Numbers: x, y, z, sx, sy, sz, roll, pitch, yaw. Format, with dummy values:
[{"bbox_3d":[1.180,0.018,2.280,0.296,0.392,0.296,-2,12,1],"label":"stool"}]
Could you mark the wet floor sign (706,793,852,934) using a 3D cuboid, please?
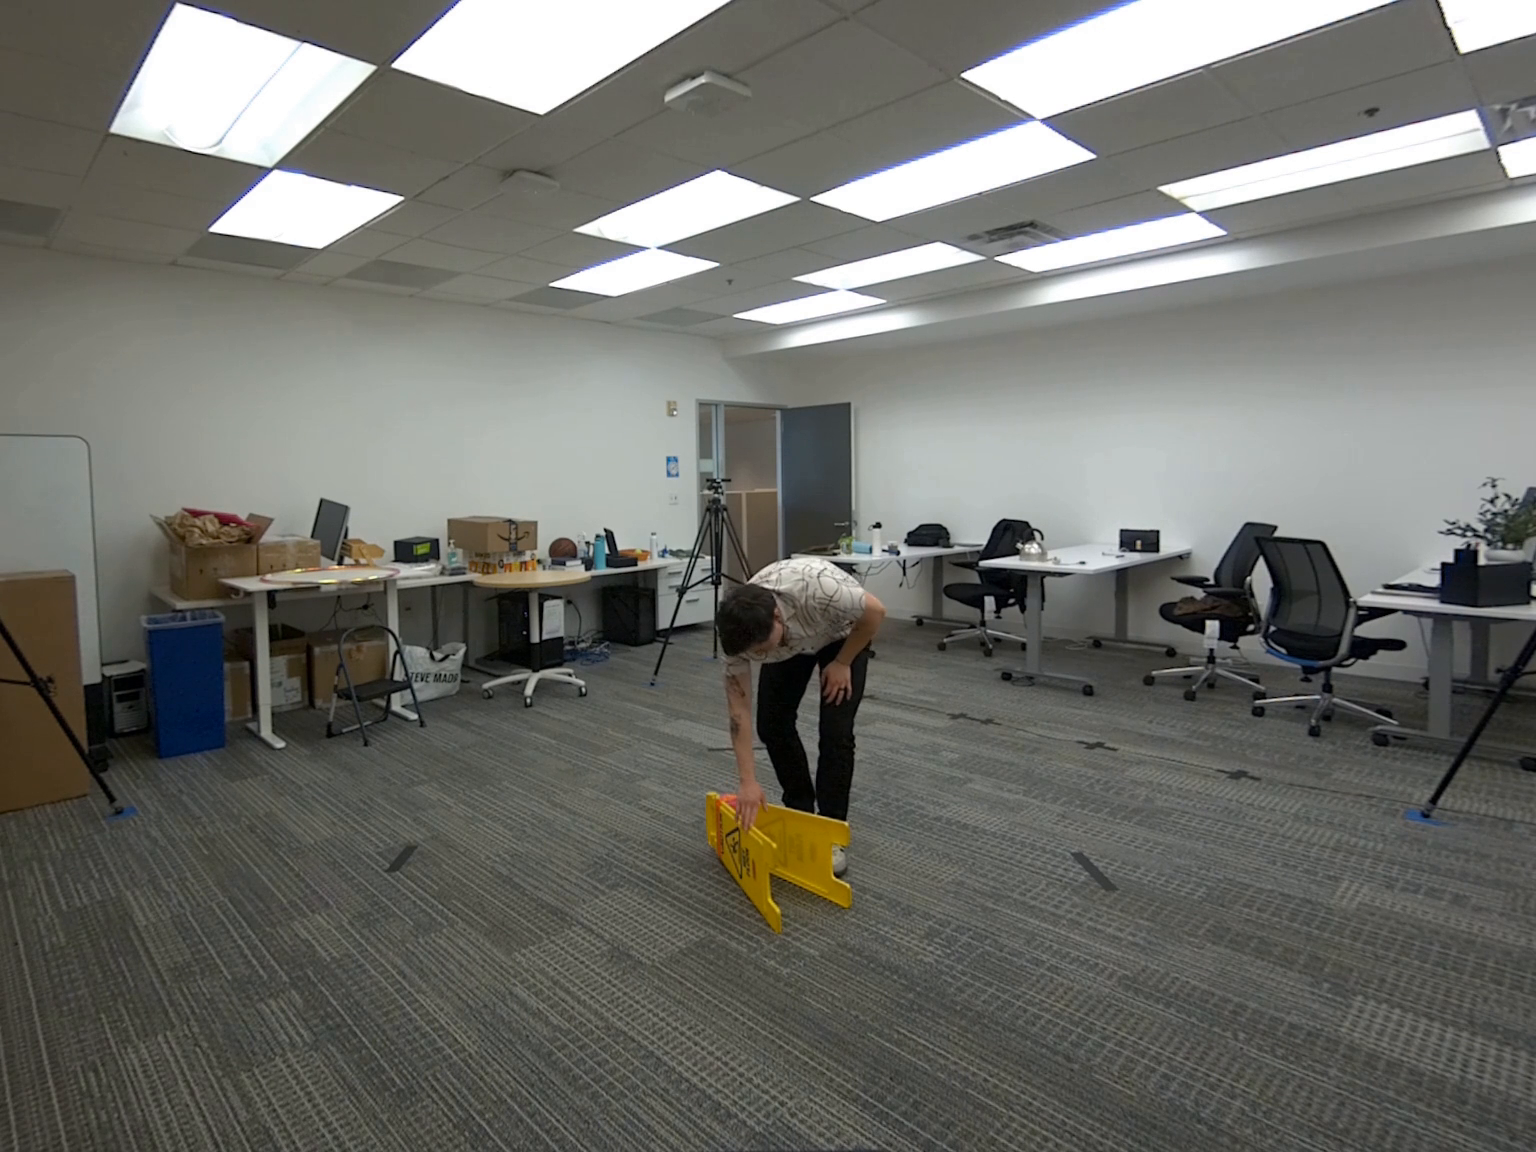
[{"bbox_3d":[-0.037,0.930,2.957,0.282,0.281,0.664,-4,5,-34],"label":"wet floor sign"}]
